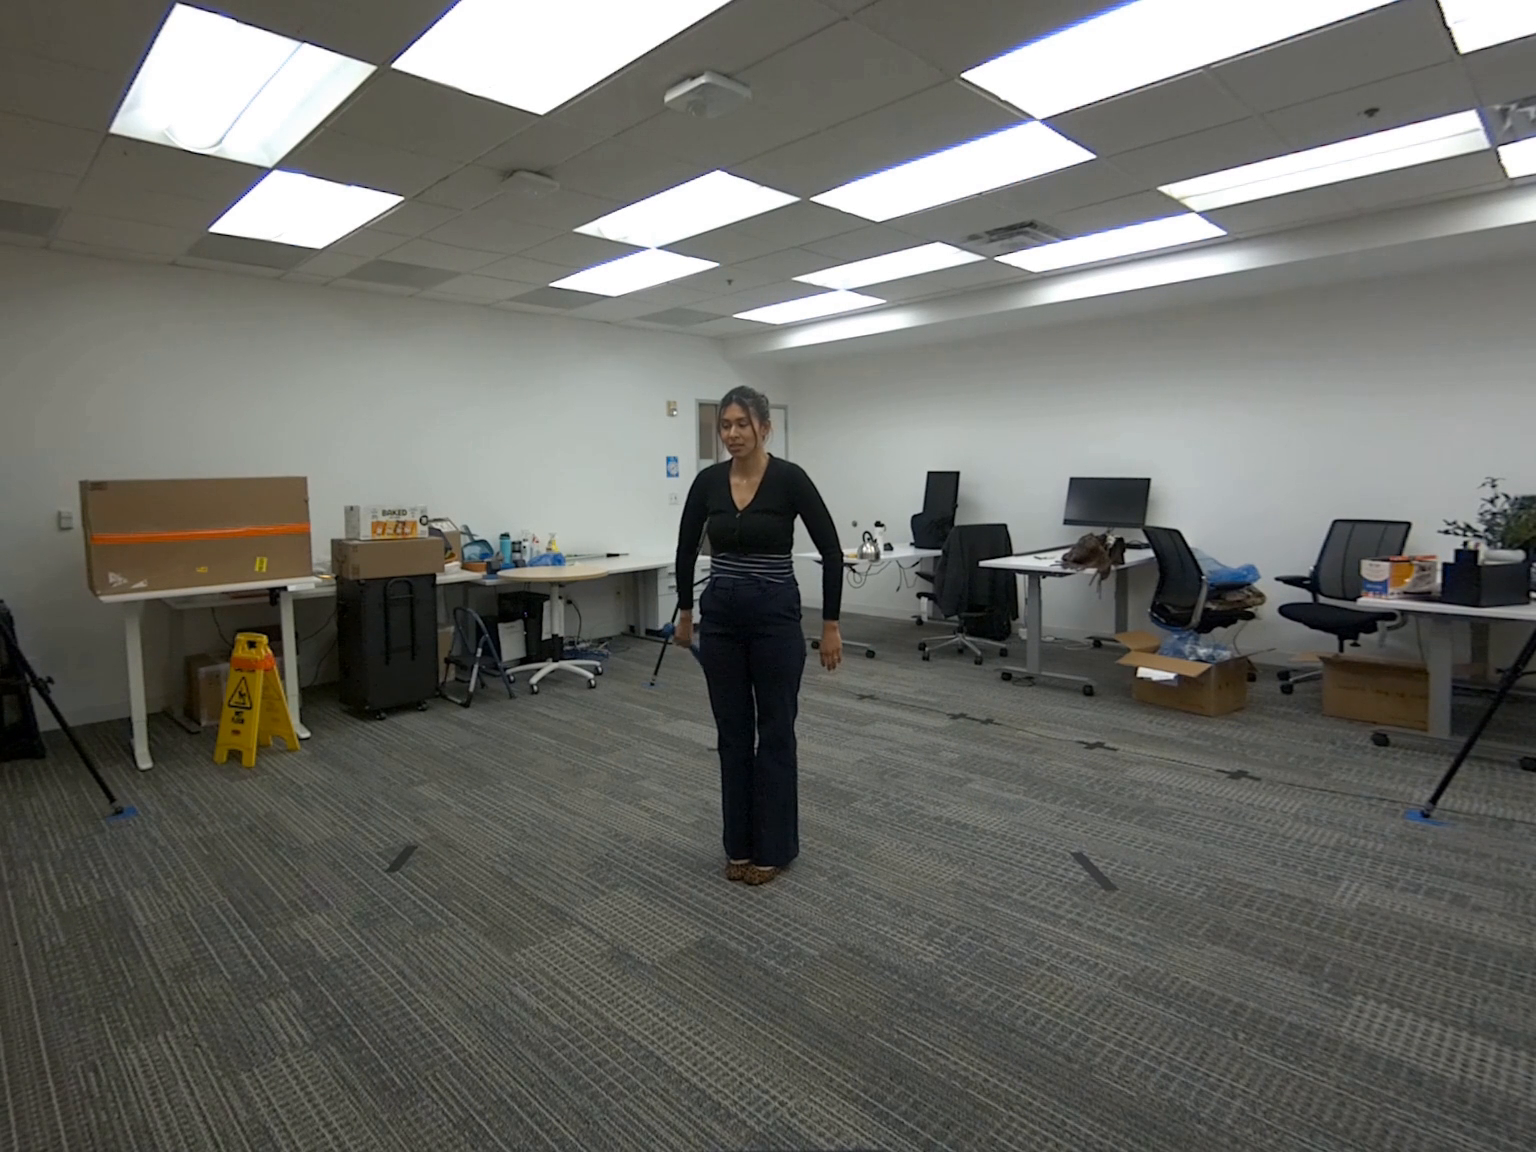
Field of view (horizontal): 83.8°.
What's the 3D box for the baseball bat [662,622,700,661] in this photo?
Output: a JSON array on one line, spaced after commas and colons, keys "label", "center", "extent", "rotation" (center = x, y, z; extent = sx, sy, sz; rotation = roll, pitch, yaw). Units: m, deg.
[{"label": "baseball bat", "center": [-0.250, 0.318, 3.388], "extent": [0.091, 0.090, 0.522], "rotation": [2, -29, 34]}]
